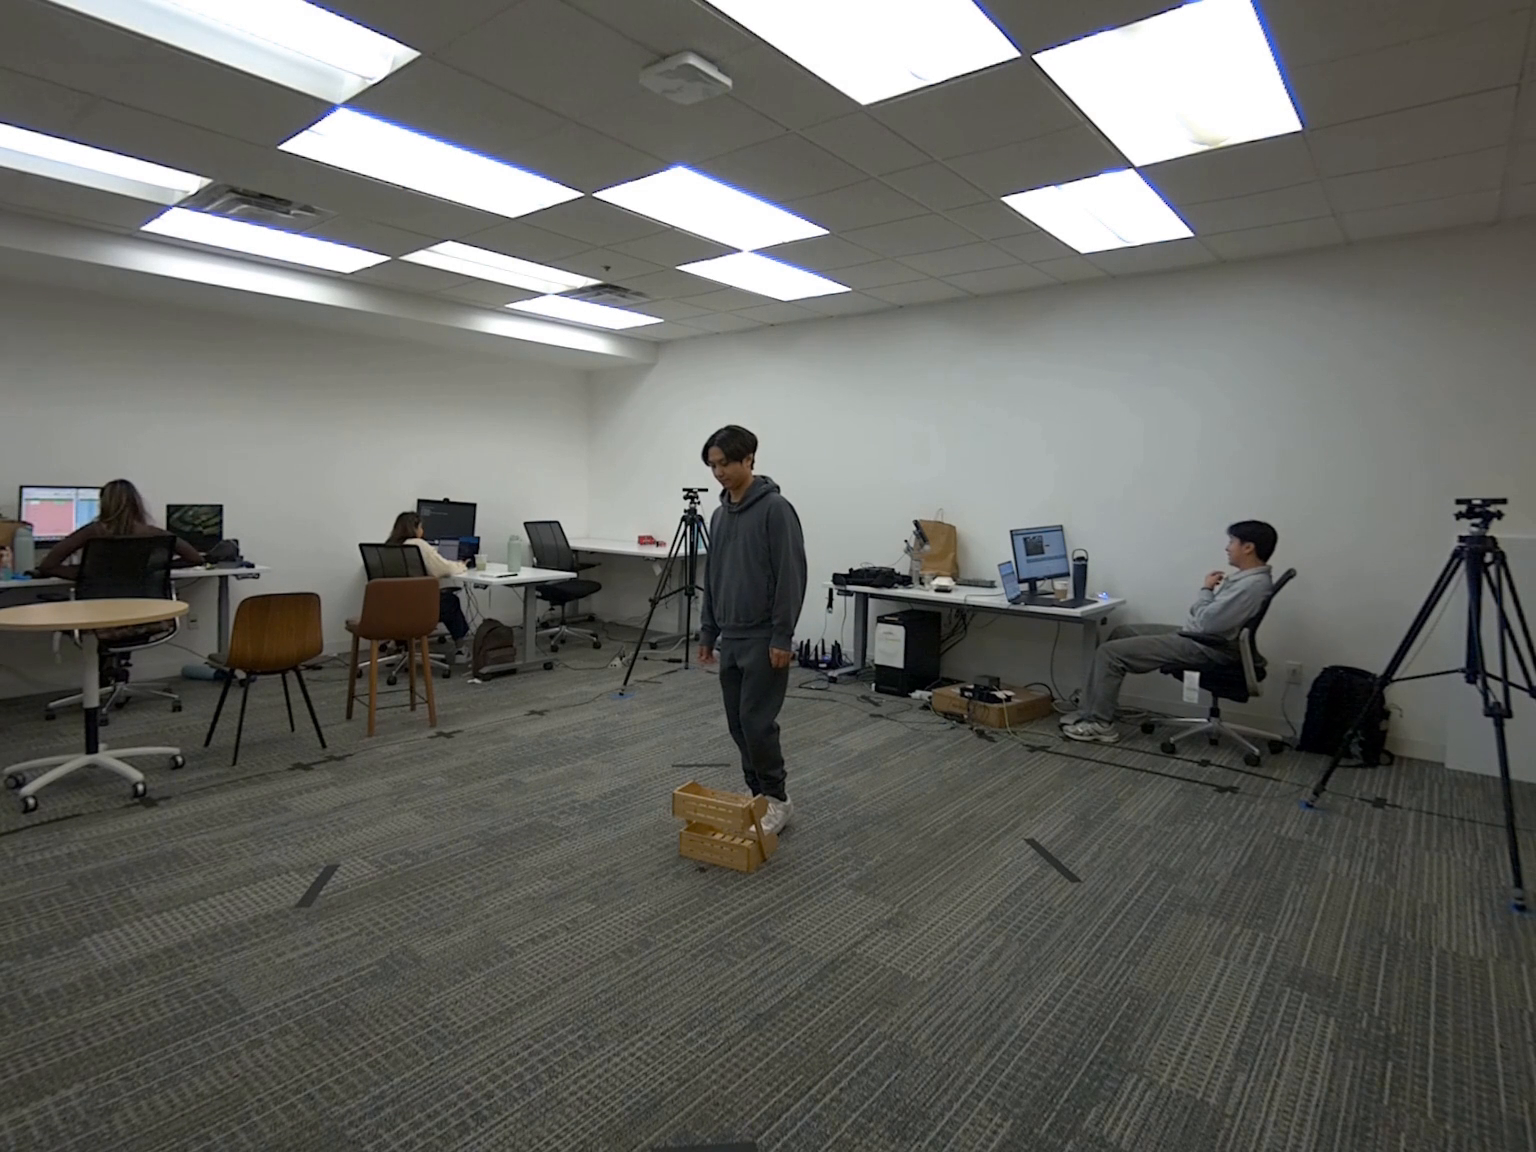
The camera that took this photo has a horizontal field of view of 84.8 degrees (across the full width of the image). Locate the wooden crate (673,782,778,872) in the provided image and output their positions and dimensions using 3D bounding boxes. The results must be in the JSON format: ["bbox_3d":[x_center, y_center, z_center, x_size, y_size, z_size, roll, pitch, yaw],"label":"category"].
[{"bbox_3d":[-0.170,0.926,3.238,0.333,0.272,0.295,3,5,27],"label":"wooden crate"}]
